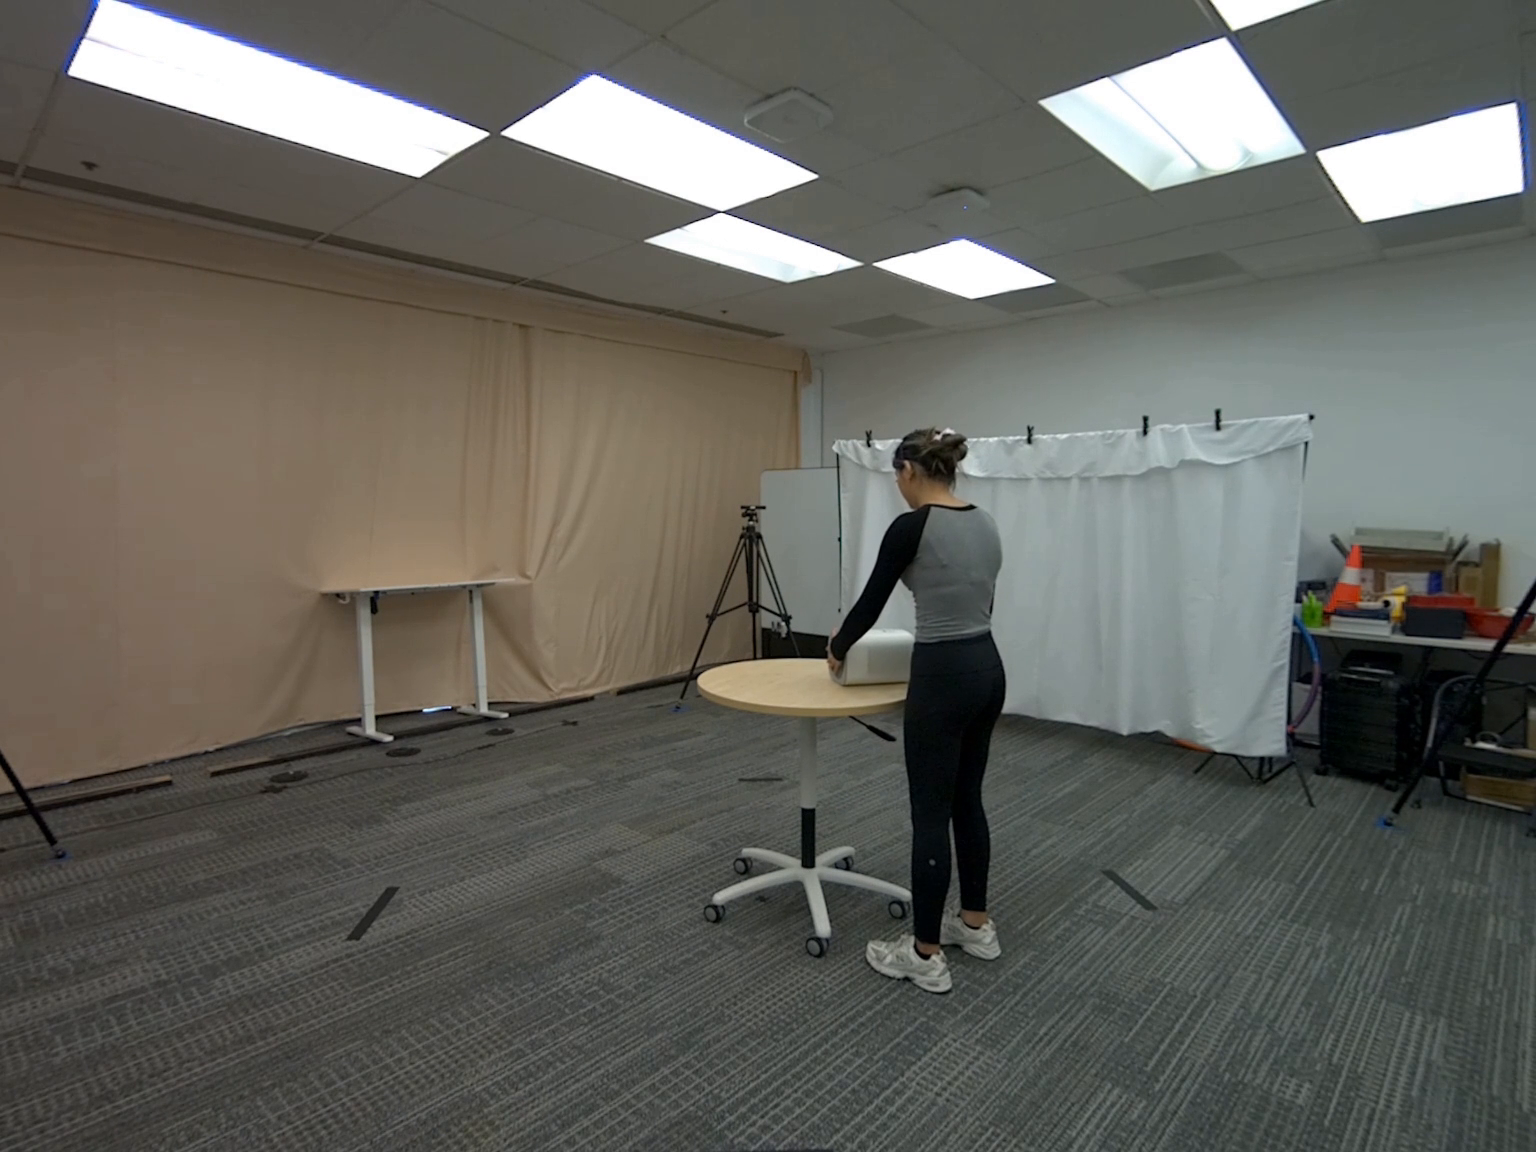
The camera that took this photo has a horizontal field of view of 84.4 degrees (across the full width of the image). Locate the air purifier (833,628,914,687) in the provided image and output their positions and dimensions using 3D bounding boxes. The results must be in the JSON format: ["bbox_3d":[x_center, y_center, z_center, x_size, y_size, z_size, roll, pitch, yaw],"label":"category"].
[{"bbox_3d":[0.358,0.272,2.862,0.262,0.171,0.174,-1,6,-12],"label":"air purifier"}]
